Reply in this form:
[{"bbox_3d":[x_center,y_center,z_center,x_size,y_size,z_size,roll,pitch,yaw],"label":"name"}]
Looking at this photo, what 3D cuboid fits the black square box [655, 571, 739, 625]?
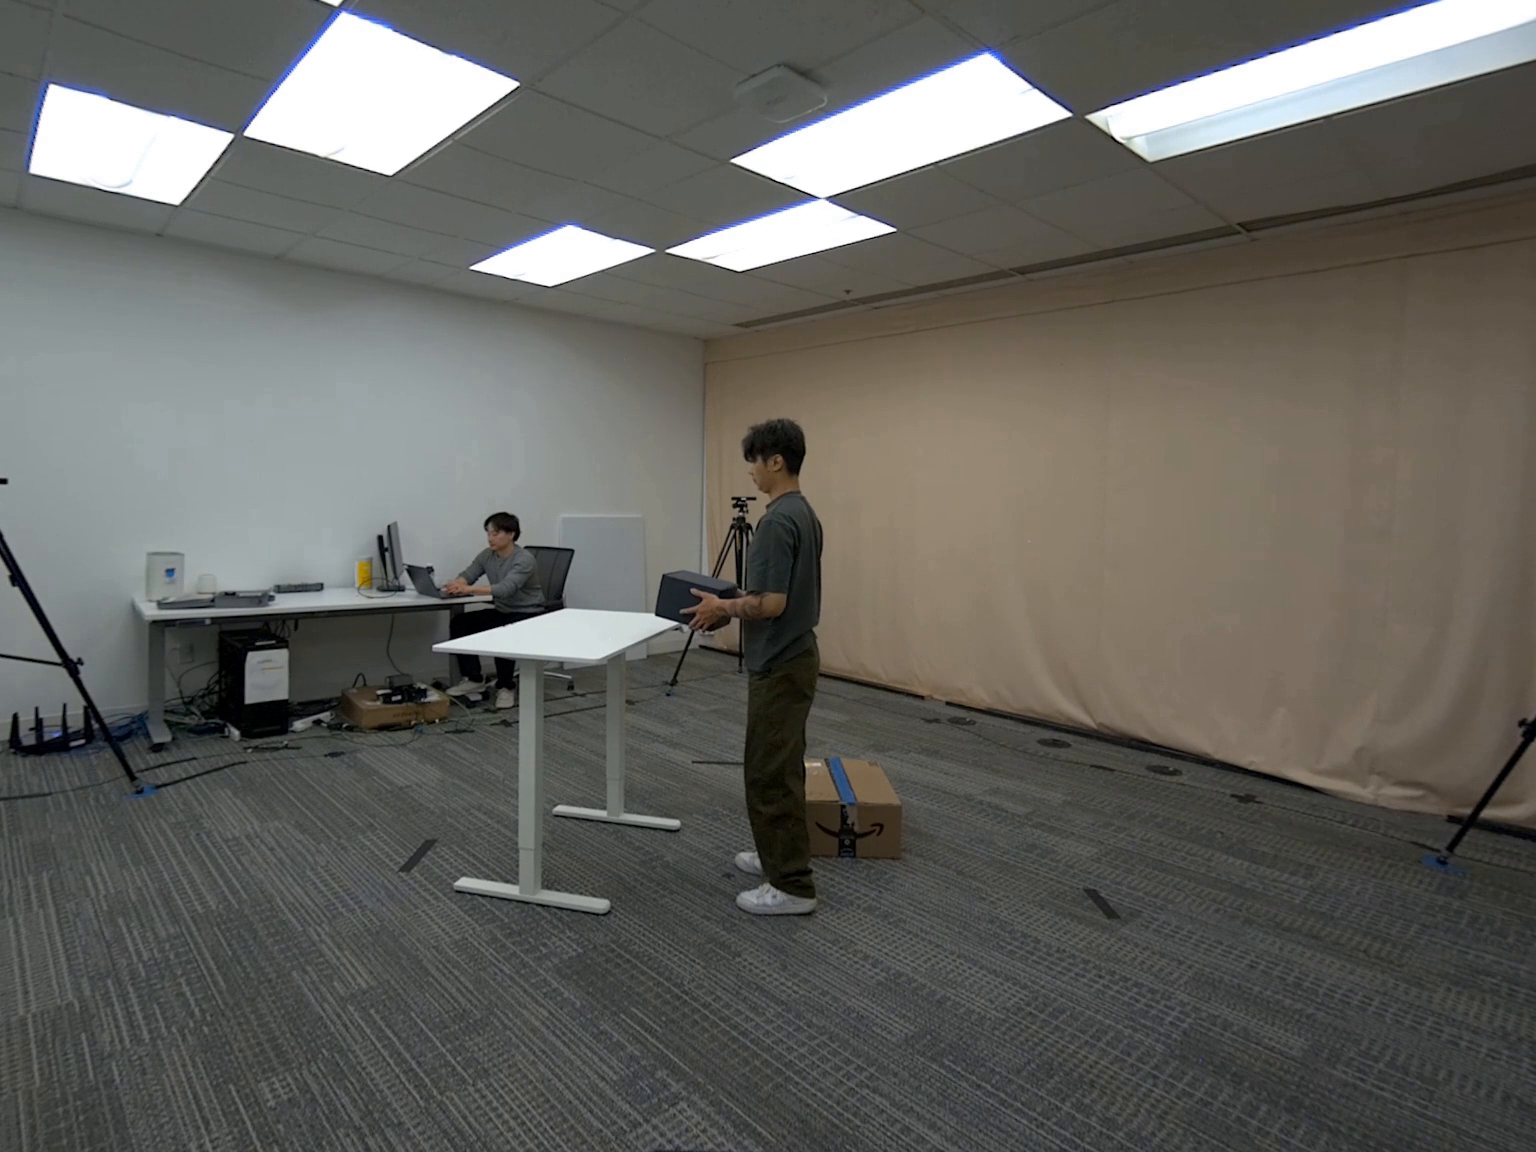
[{"bbox_3d":[-0.260,0.078,3.087,0.231,0.155,0.215,11,6,13],"label":"black square box"}]
